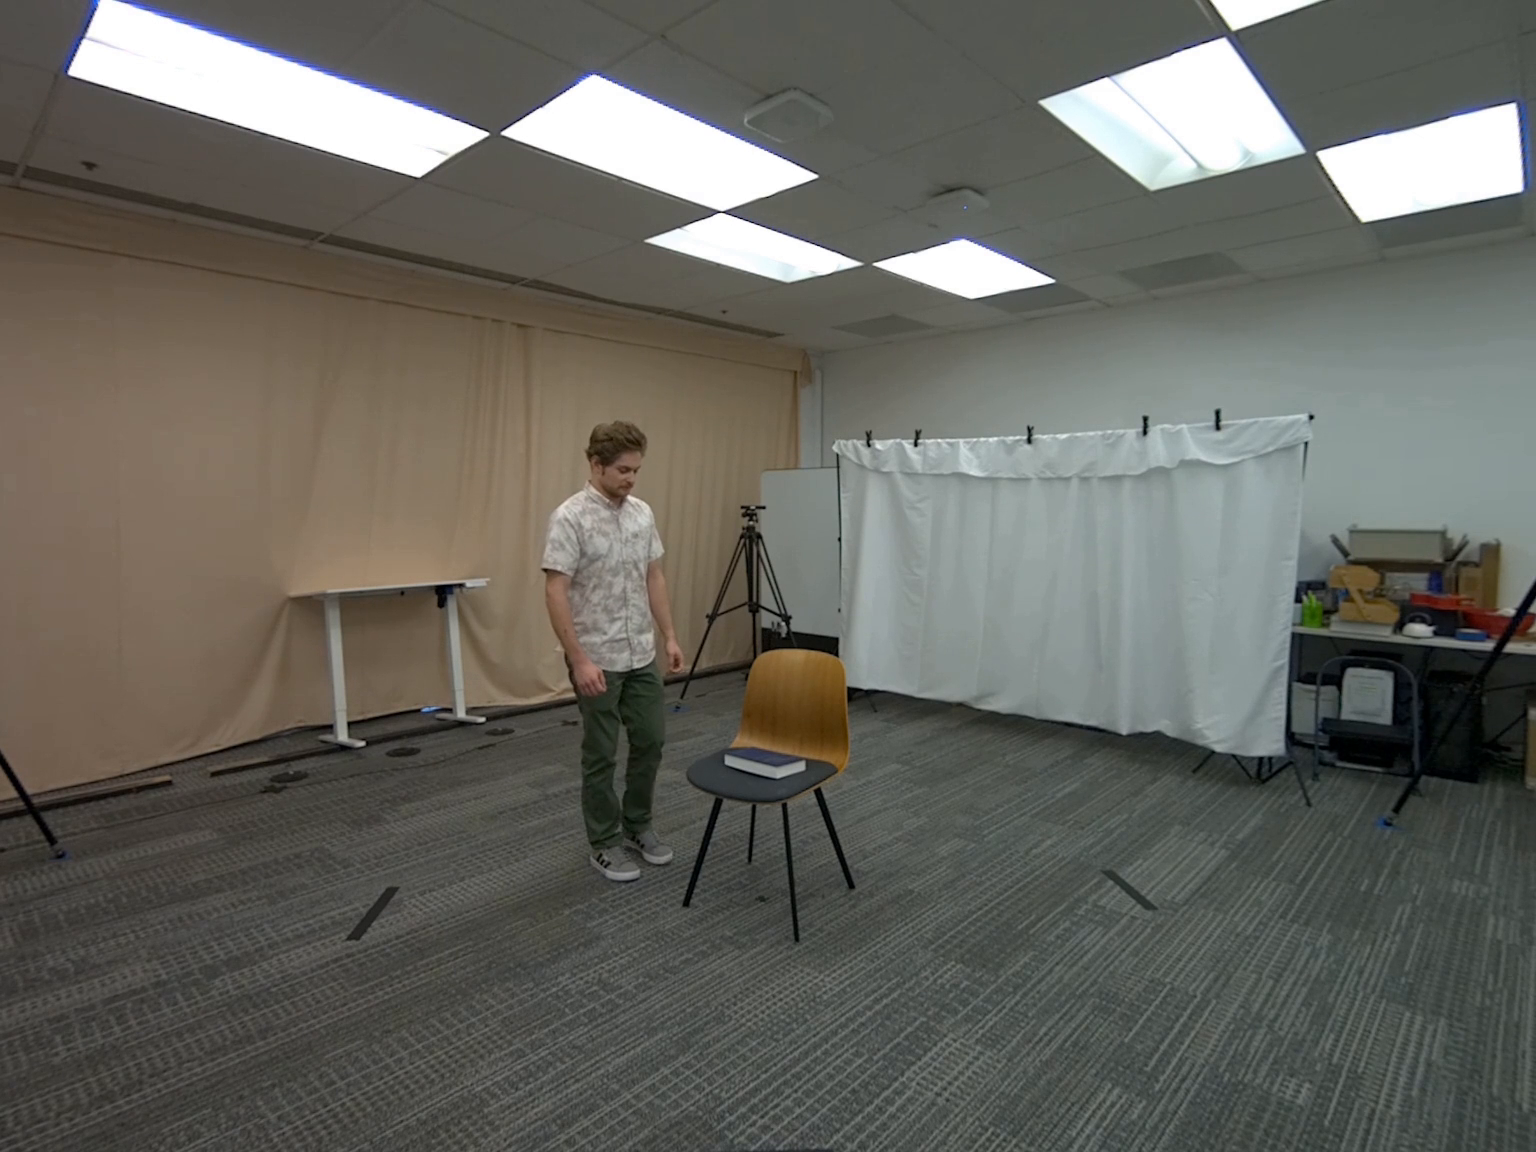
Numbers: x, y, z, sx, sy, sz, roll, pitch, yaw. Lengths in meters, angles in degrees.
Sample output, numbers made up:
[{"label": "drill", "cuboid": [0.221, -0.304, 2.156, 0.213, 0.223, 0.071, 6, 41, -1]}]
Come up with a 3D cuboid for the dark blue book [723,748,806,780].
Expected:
[{"label": "dark blue book", "cuboid": [-0.008, 0.640, 2.925, 0.253, 0.045, 0.158, 3, 3, 41]}]
